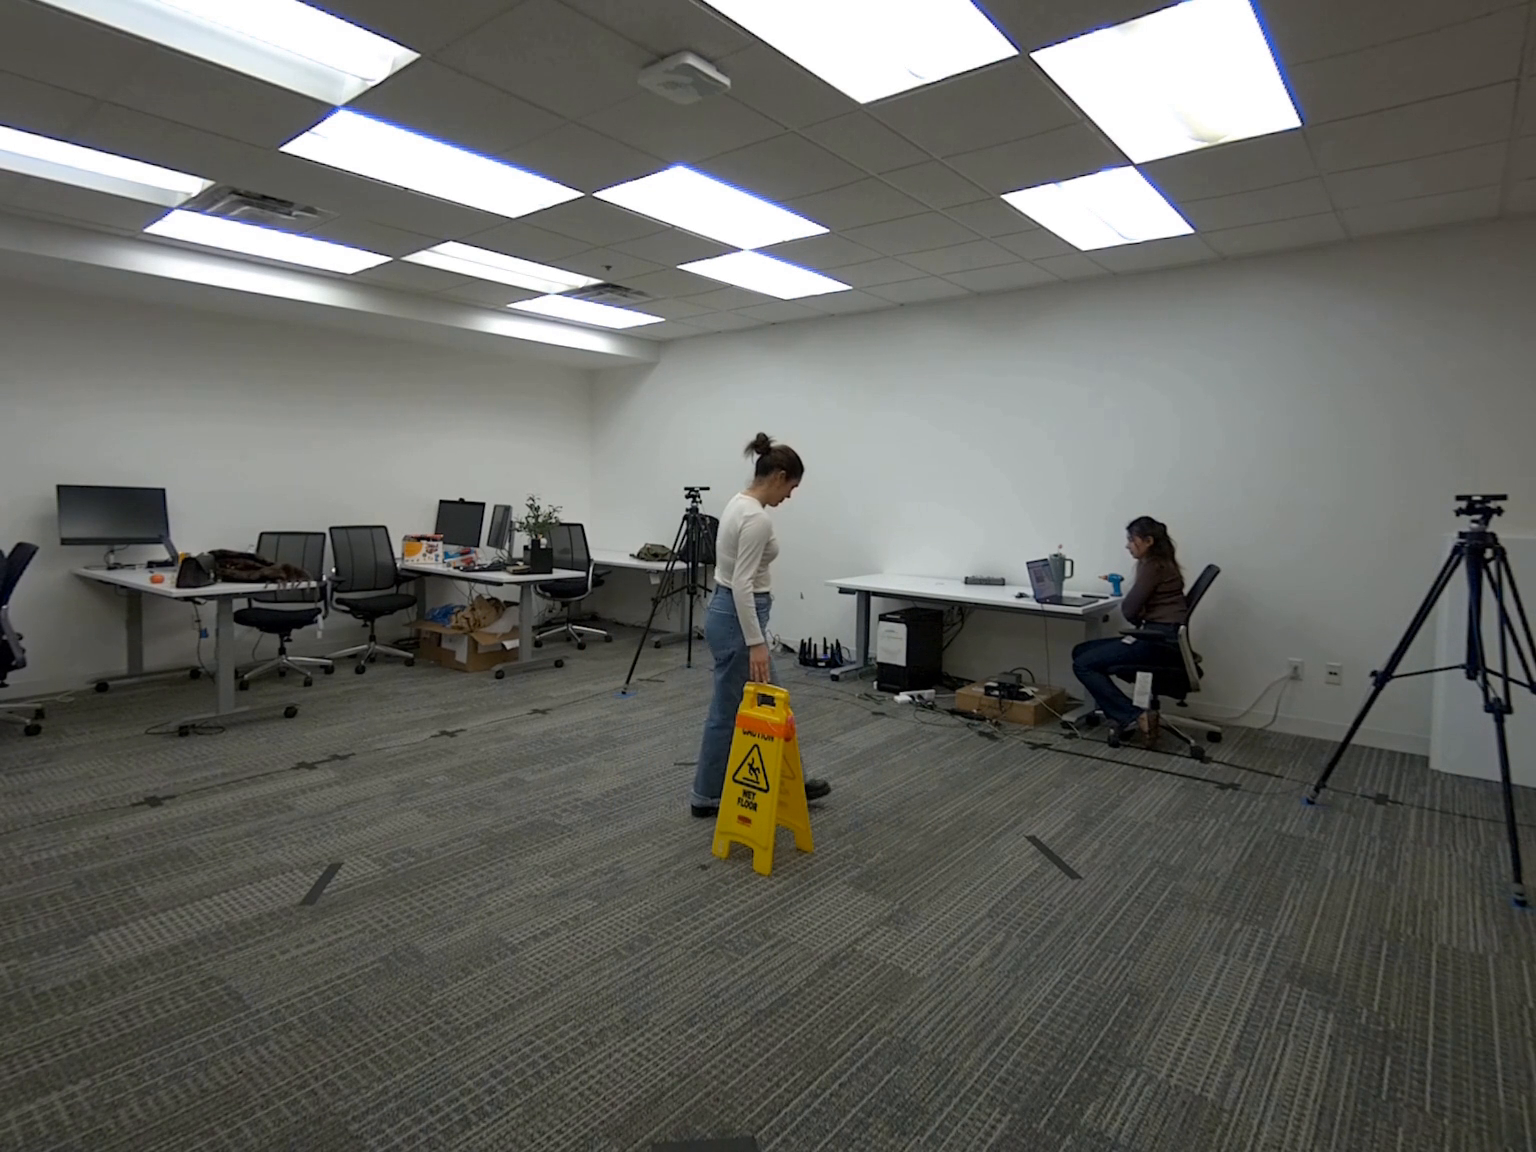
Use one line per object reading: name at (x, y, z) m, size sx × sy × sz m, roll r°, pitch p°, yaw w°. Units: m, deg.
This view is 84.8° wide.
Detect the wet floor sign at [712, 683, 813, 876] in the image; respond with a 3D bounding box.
wet floor sign at (-0.018, 0.731, 3.235) m, size 0.292 × 0.644 × 0.281 m, roll 5°, pitch 4°, yaw 39°
